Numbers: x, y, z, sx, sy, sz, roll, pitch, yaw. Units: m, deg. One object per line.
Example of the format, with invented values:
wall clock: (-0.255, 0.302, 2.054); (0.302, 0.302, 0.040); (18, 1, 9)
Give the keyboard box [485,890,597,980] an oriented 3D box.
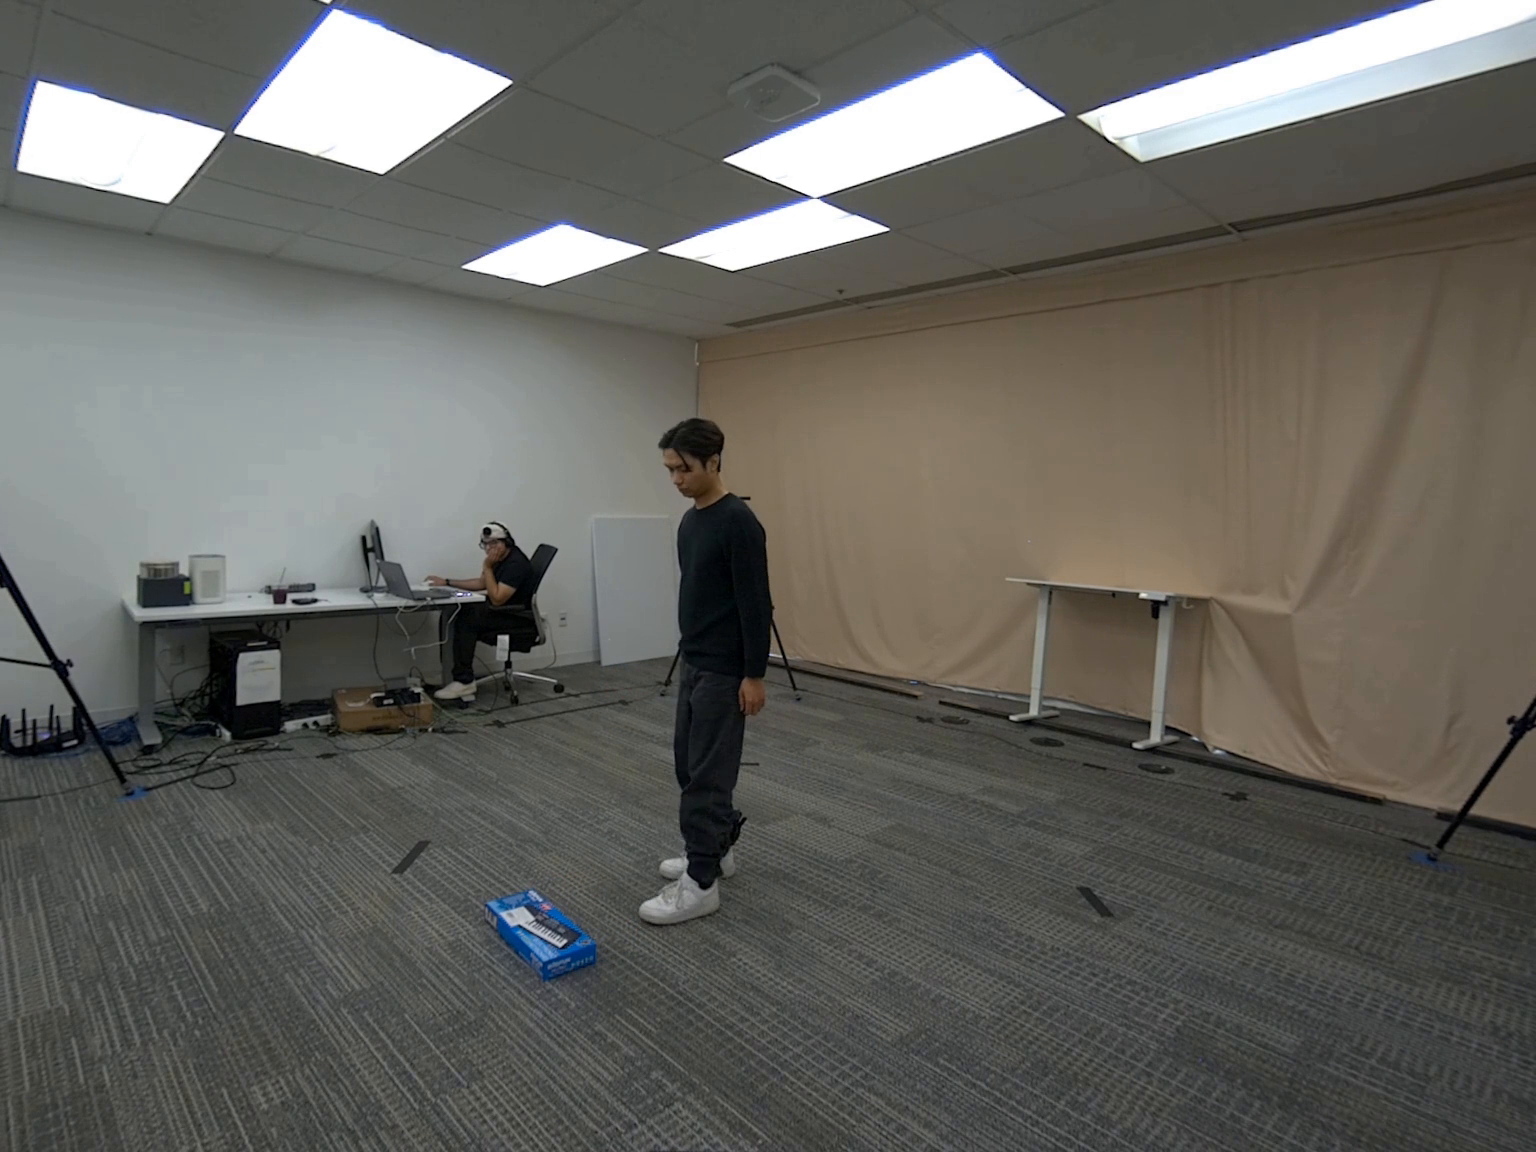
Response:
keyboard box: (-0.724, 1.112, 2.616); (0.172, 0.059, 0.448); (-4, 7, -39)
